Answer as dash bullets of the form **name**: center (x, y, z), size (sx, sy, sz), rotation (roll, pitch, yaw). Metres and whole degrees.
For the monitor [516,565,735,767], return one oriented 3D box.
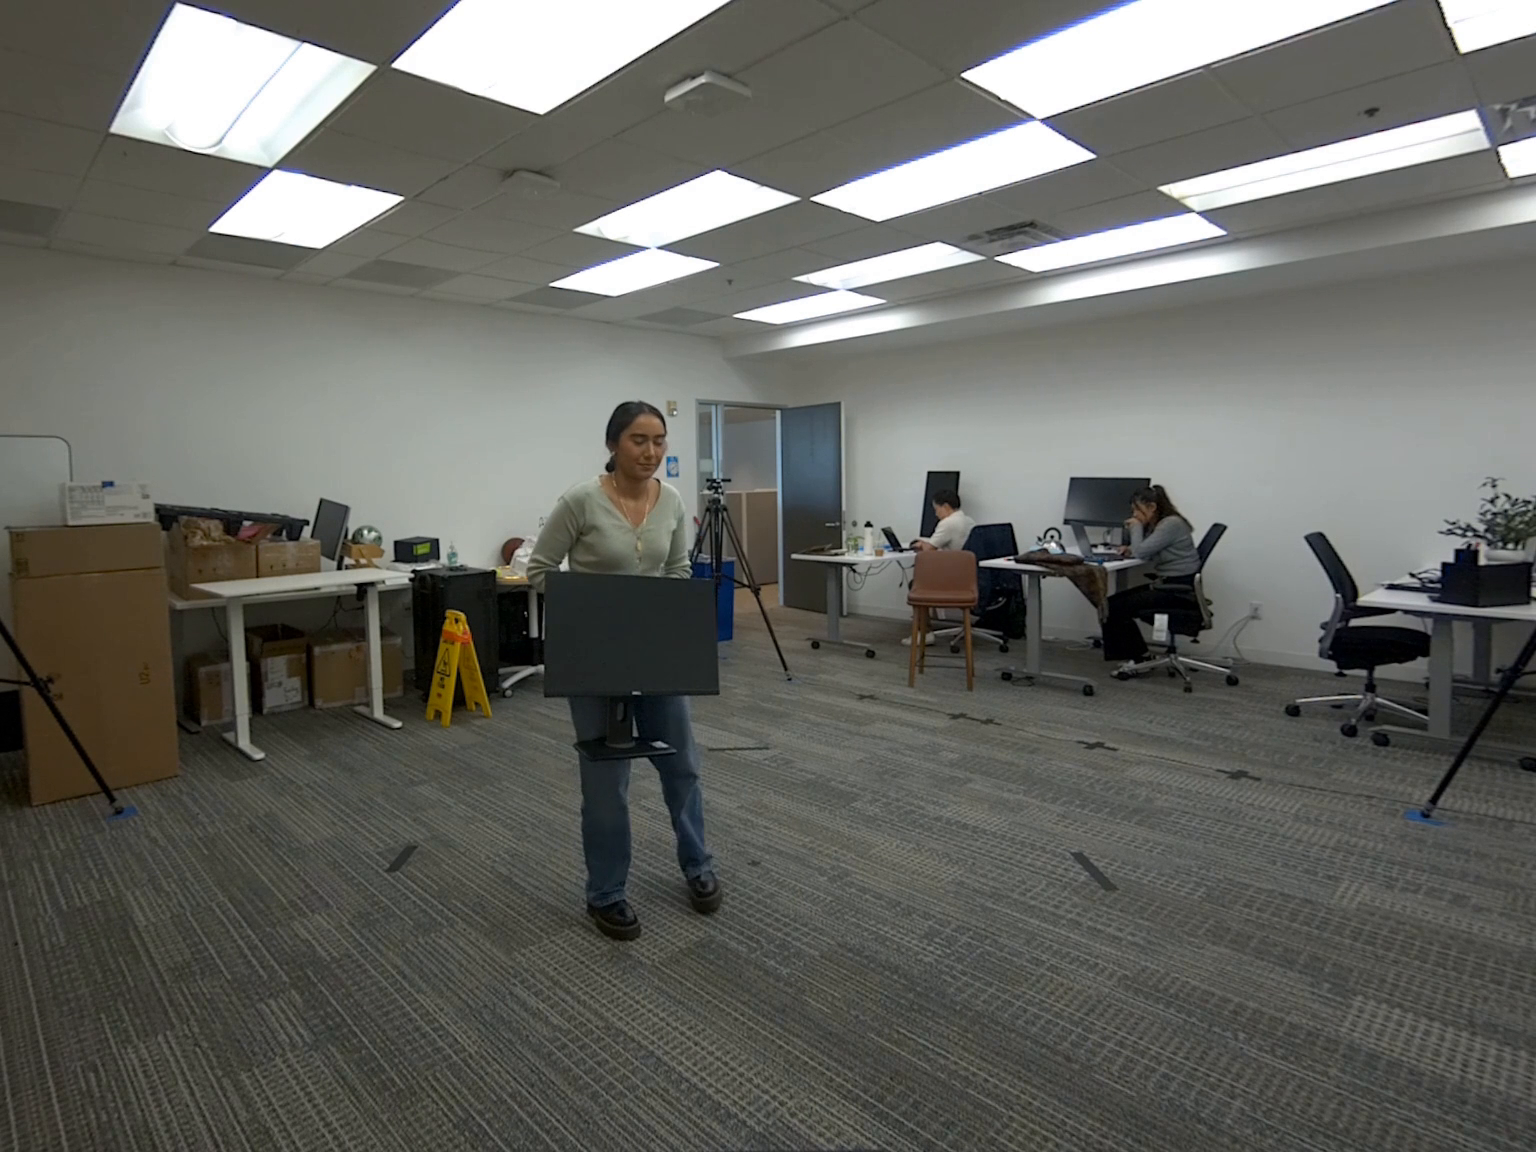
- **monitor**: center (-0.418, 0.259, 2.480), size (0.519, 0.513, 0.179), rotation (7, 7, -20)
